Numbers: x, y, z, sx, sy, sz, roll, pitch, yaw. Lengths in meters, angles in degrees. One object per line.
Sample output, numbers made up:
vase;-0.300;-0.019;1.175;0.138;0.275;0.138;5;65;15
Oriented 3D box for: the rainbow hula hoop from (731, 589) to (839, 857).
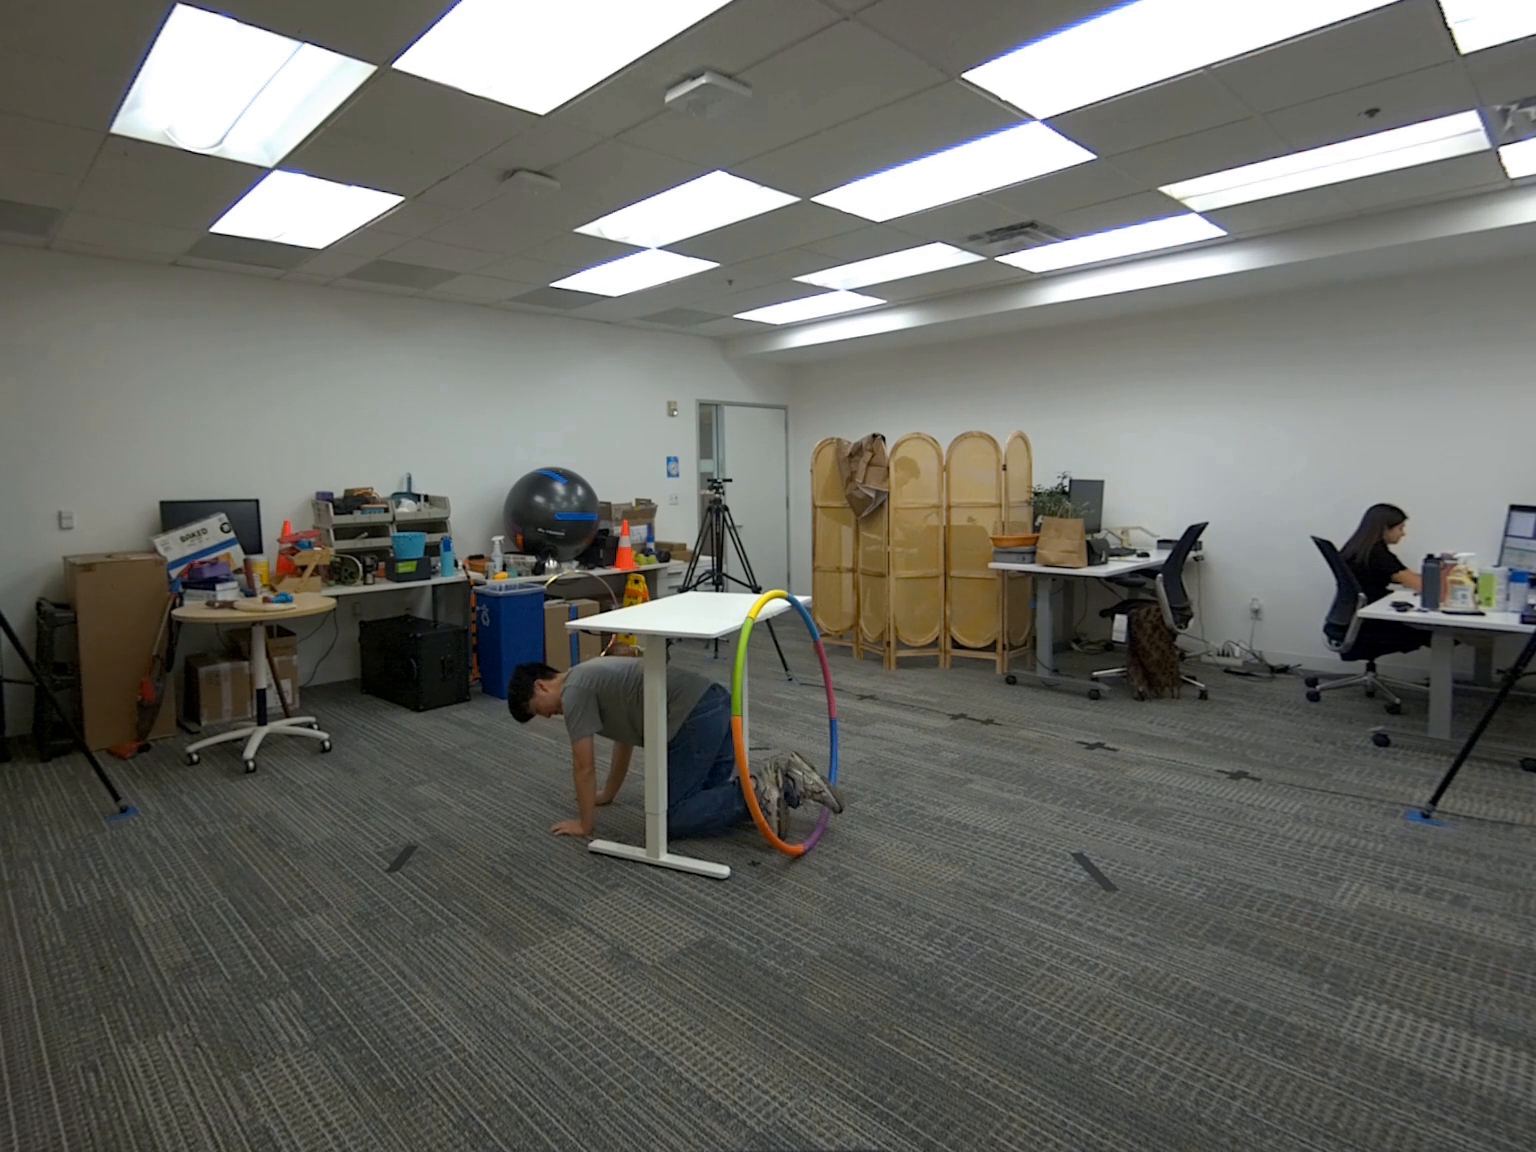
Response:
rainbow hula hoop;0.087;0.544;3.262;0.036;0.979;0.962;-10;1;22
